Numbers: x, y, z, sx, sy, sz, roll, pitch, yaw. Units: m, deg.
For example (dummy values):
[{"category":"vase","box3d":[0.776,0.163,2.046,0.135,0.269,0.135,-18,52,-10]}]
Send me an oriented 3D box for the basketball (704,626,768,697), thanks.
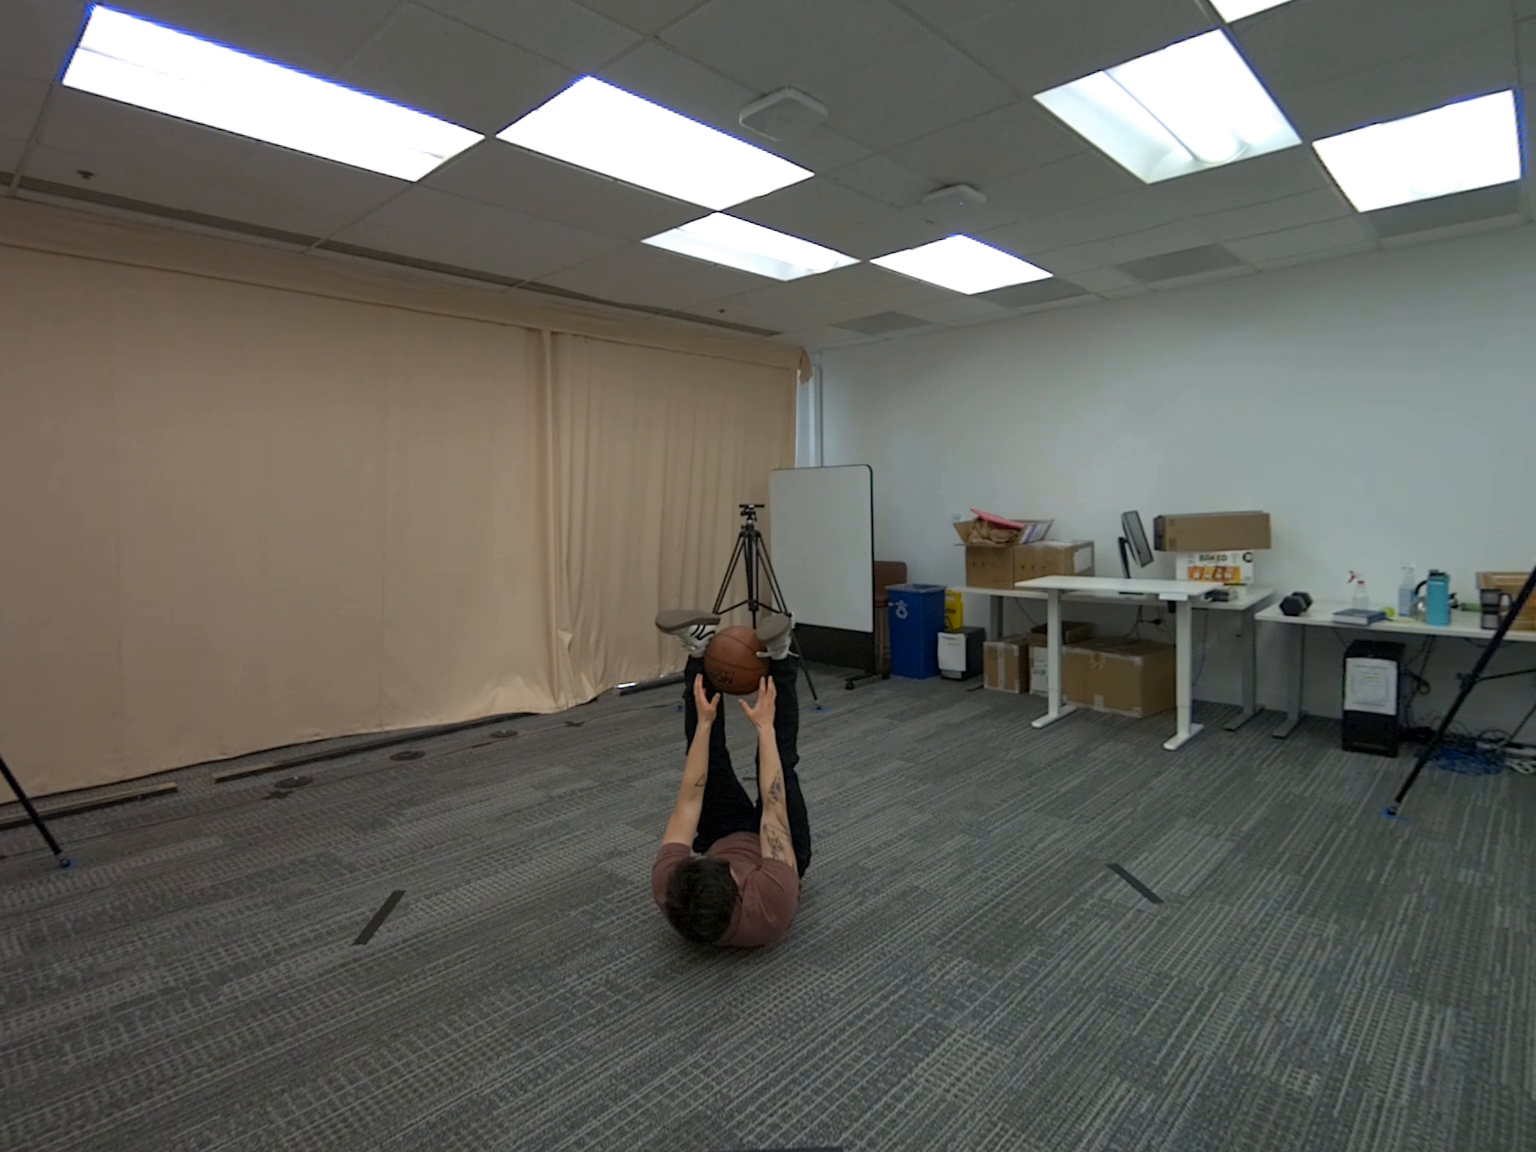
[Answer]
[{"category":"basketball","box3d":[-0.093,0.290,2.868,0.235,0.235,0.237,3,5,-2]}]
